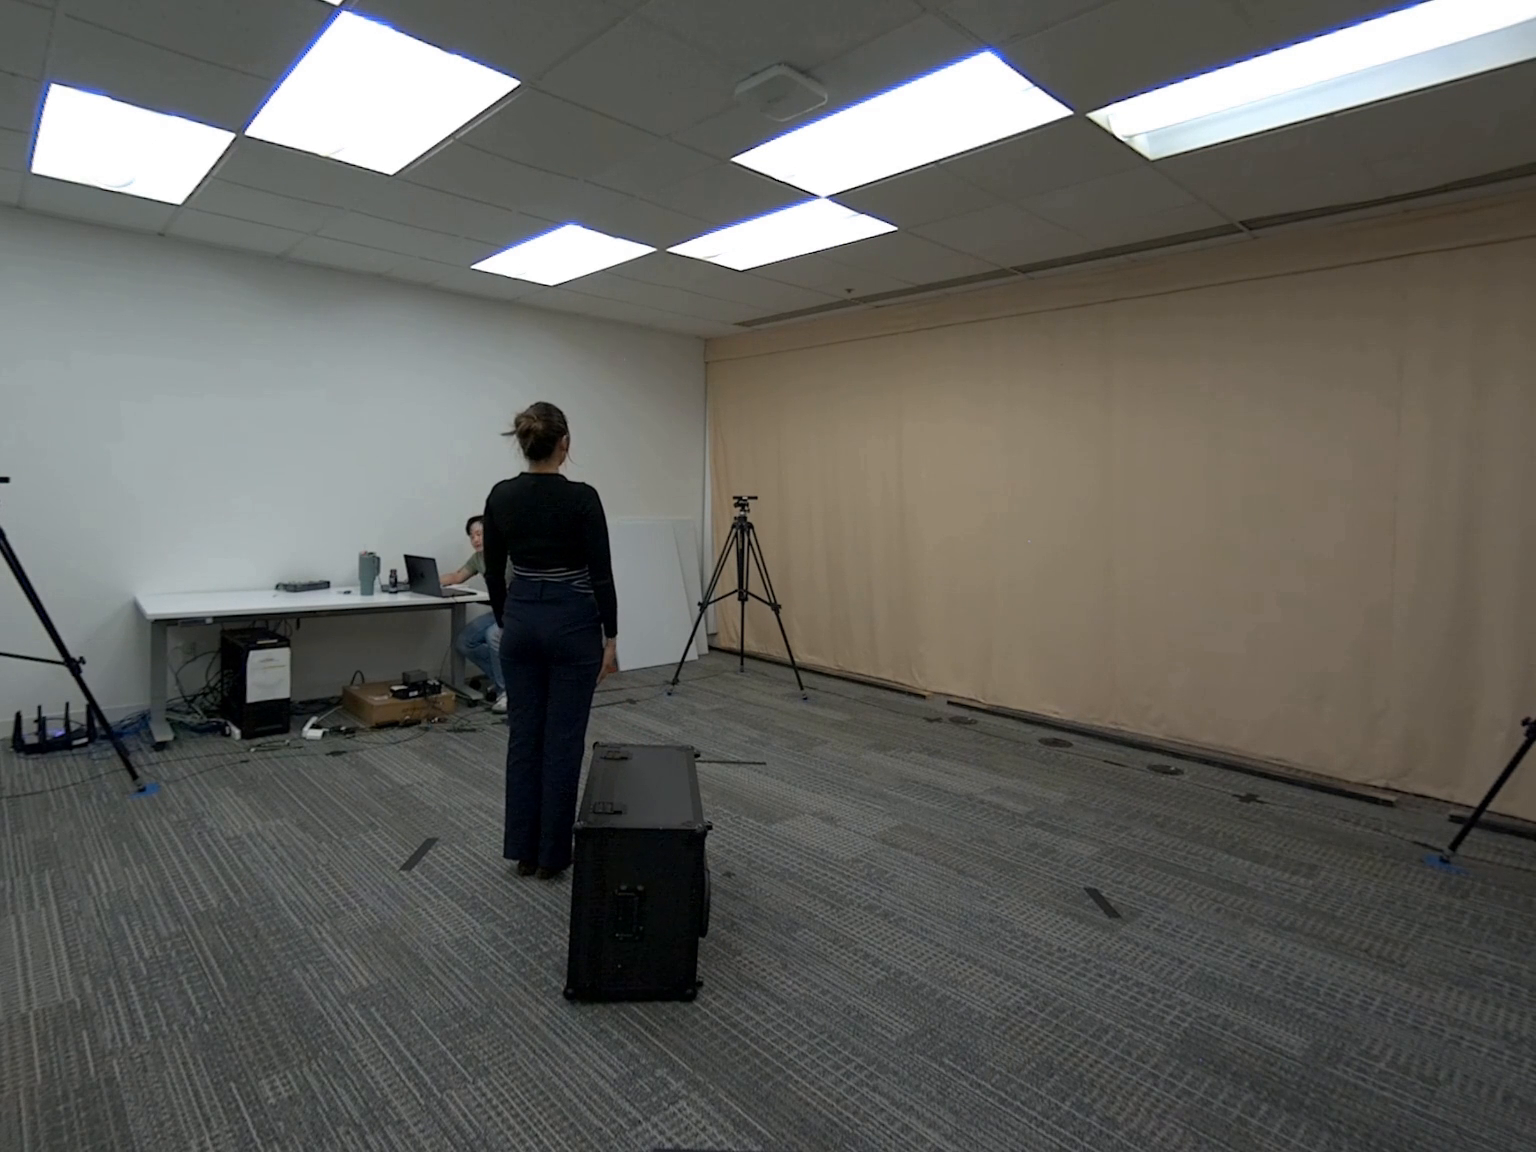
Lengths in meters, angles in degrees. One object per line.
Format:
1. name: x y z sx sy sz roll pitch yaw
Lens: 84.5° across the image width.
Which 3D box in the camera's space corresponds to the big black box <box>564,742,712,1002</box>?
1. big black box: -0.402 0.877 2.701 0.394 0.520 0.869 3 4 -8
